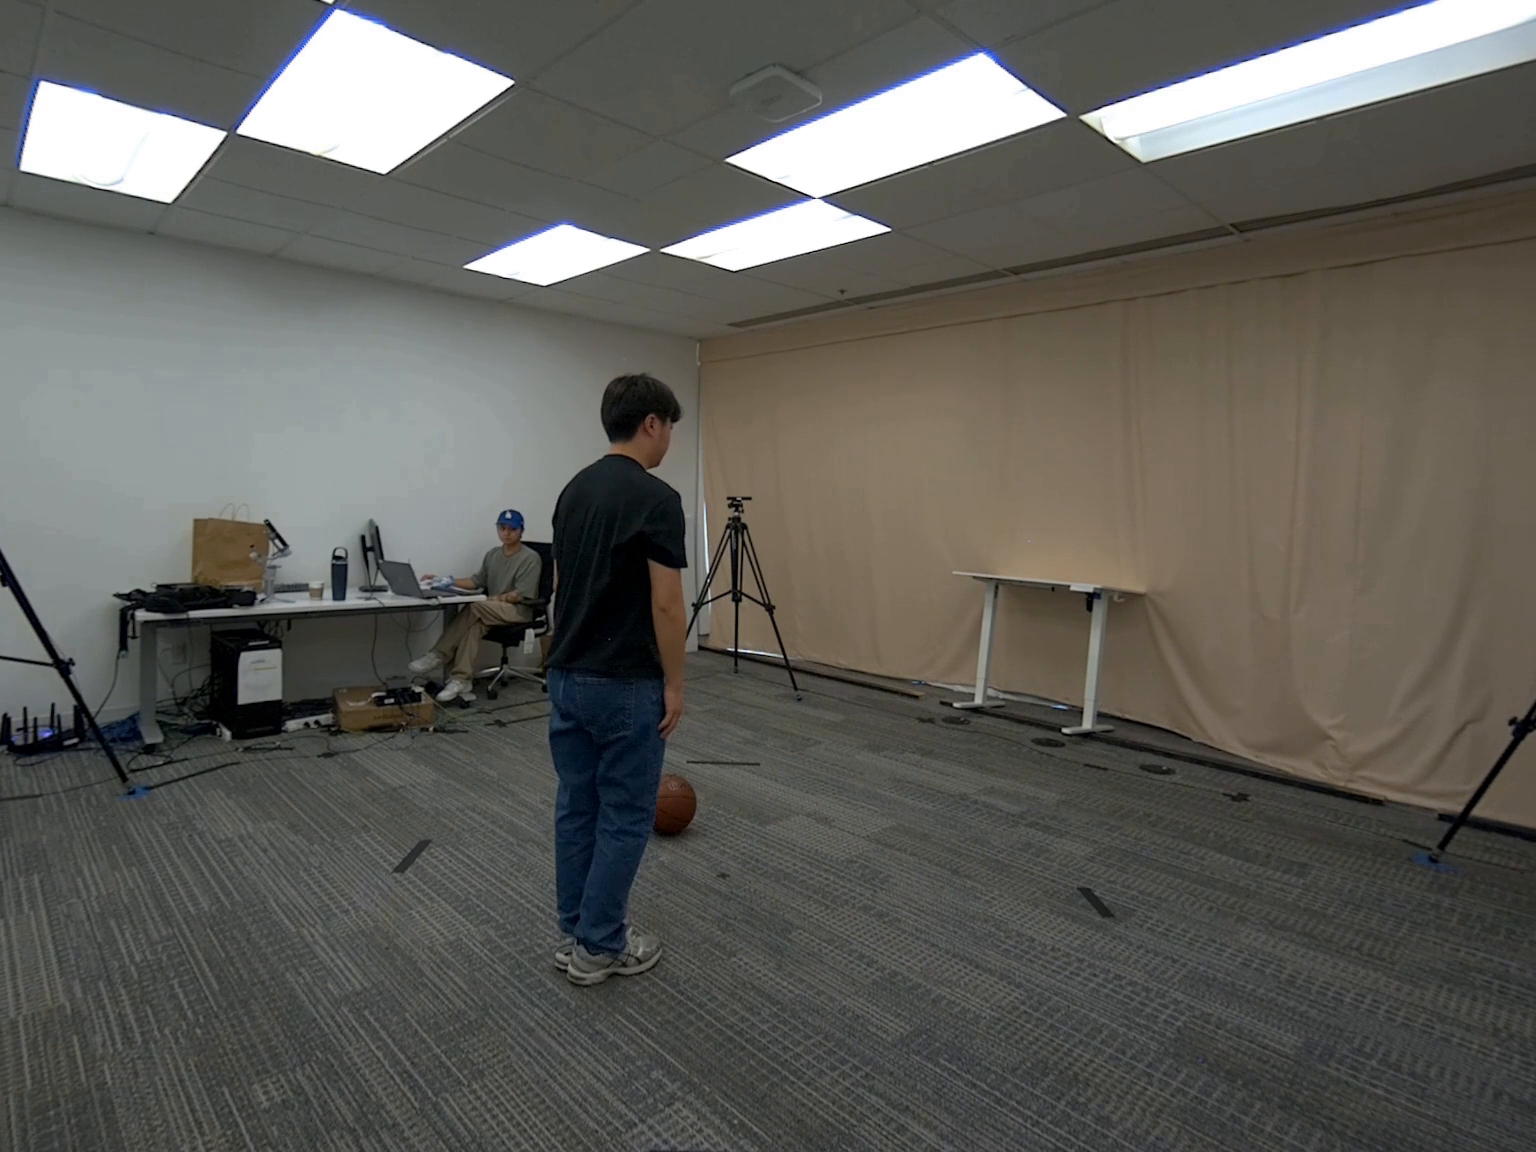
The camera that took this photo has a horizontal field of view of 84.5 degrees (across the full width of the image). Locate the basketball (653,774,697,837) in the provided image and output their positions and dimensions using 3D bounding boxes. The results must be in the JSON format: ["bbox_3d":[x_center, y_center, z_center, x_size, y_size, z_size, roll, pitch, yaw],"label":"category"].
[{"bbox_3d":[-0.417,0.946,3.500,0.236,0.235,0.237,1,4,-1],"label":"basketball"}]
